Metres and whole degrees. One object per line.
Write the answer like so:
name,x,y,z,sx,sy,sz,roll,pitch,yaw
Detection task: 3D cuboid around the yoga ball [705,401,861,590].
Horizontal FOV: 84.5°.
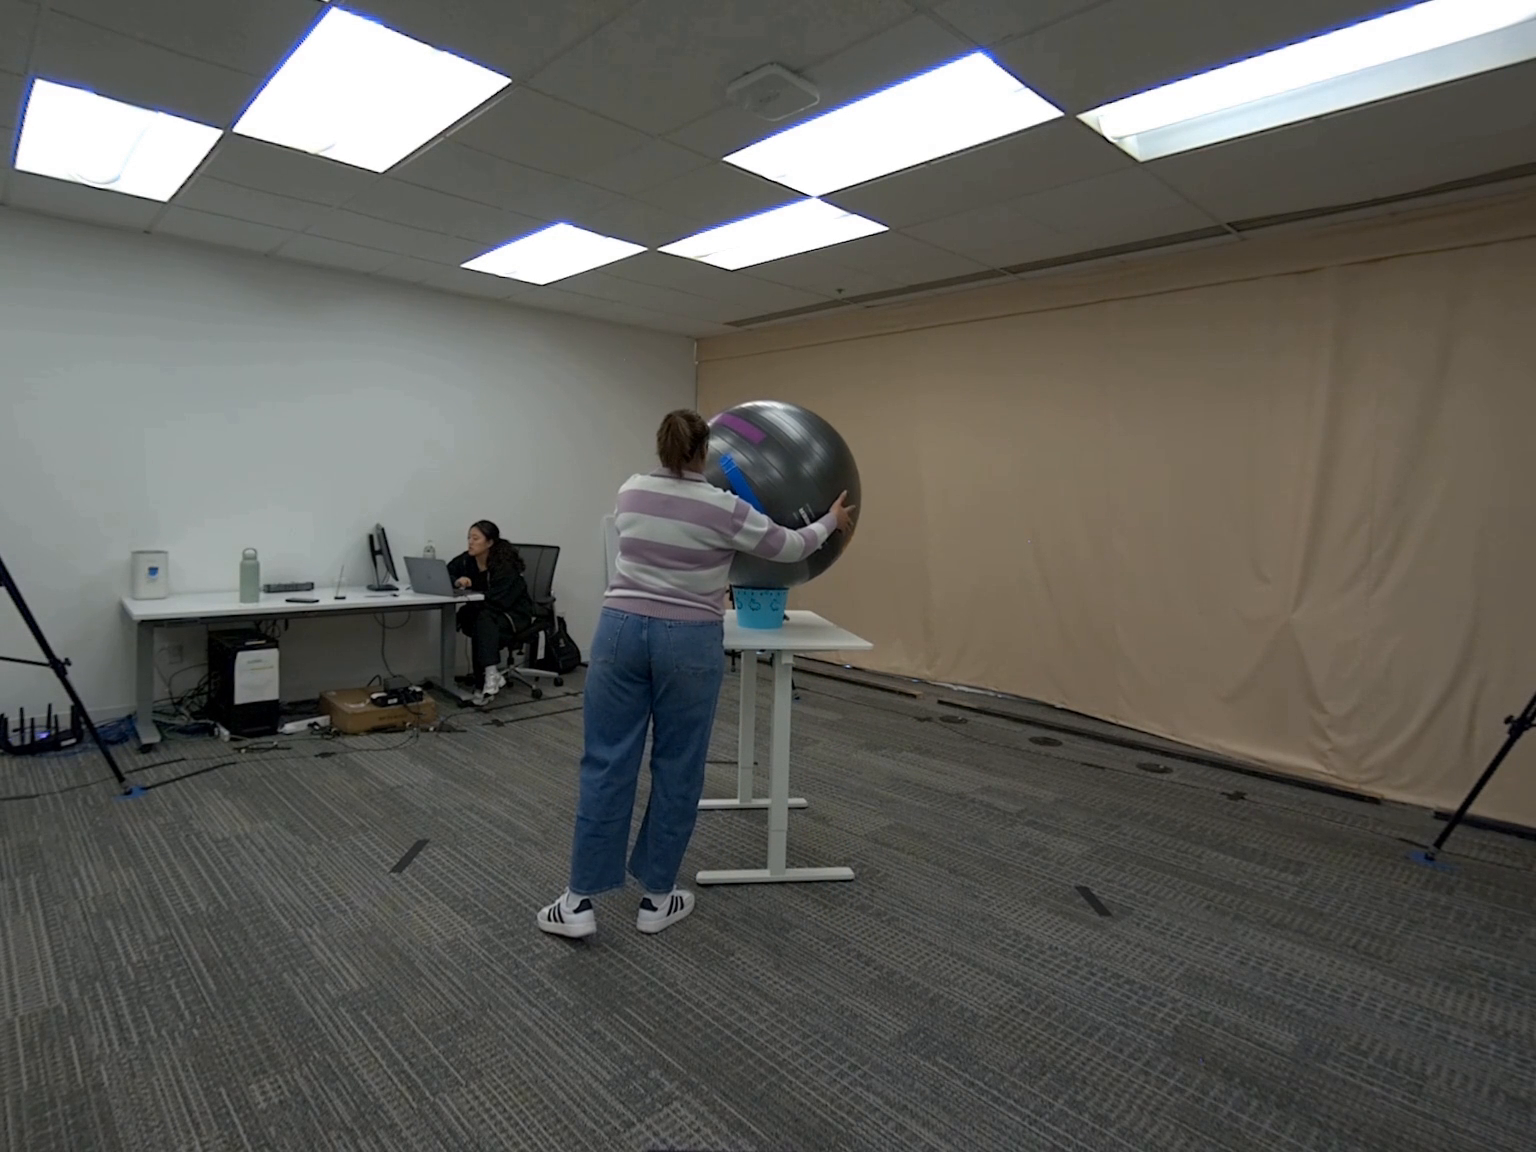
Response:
yoga ball,-0.010,-0.320,3.372,0.757,0.756,0.761,1,4,-1
